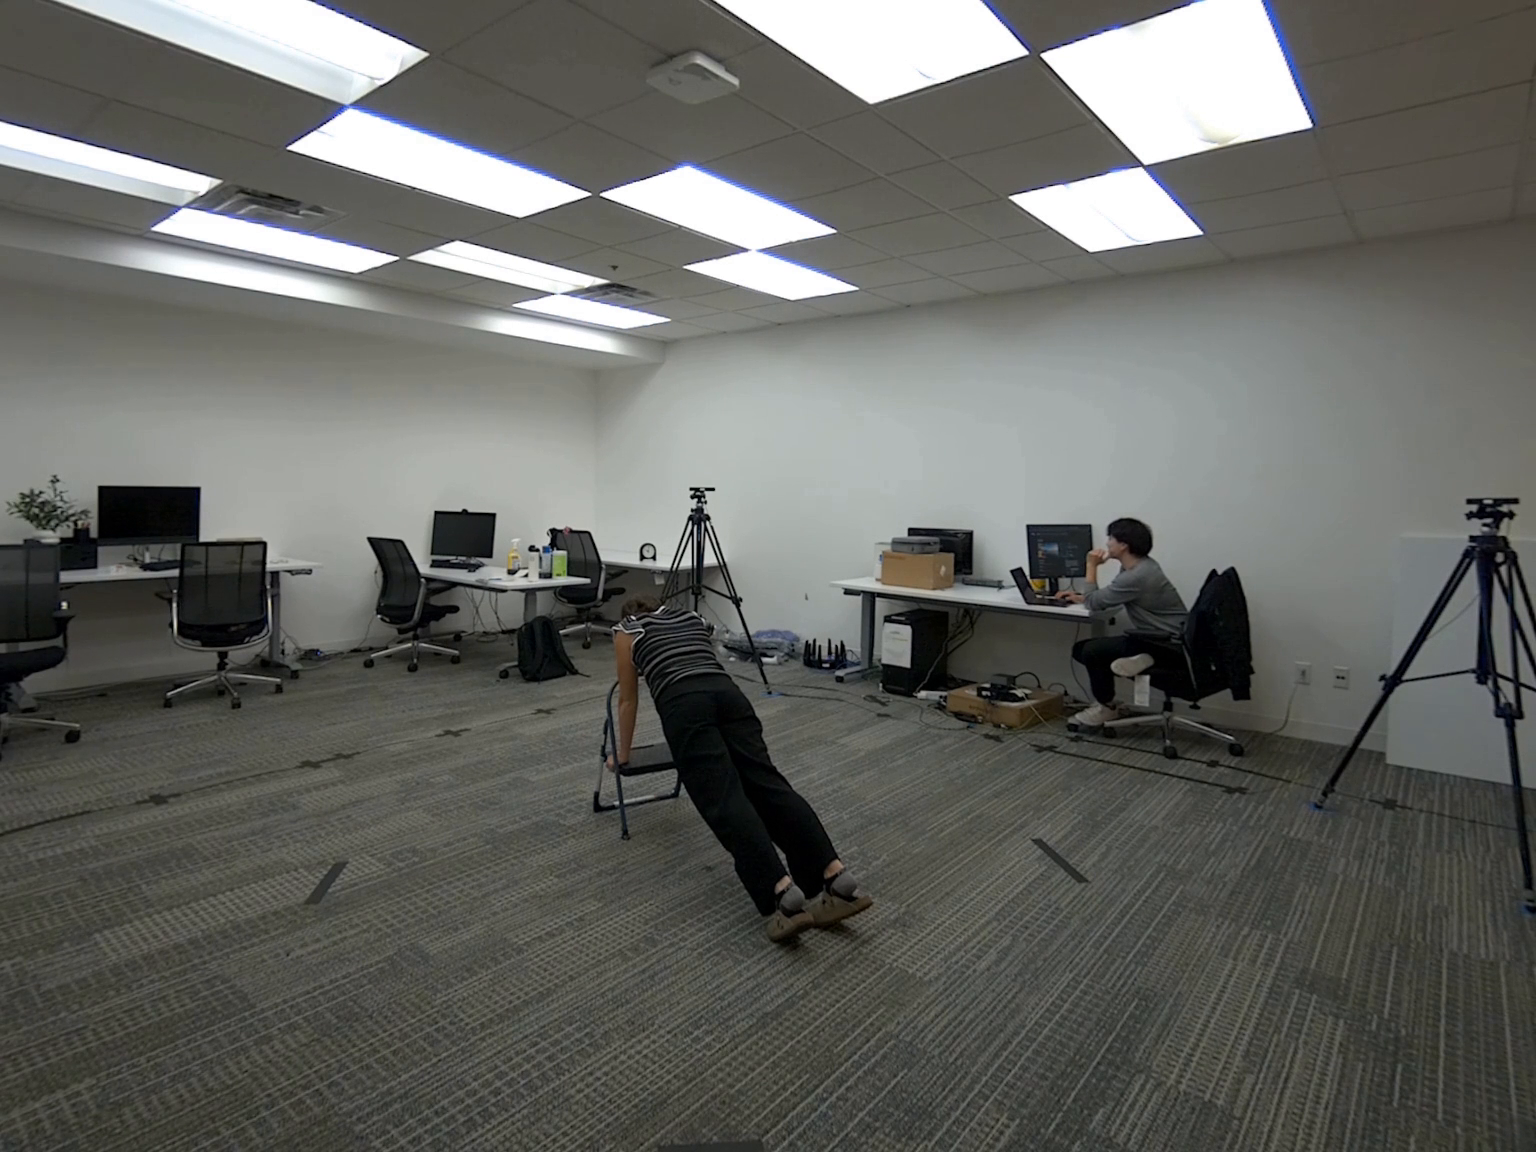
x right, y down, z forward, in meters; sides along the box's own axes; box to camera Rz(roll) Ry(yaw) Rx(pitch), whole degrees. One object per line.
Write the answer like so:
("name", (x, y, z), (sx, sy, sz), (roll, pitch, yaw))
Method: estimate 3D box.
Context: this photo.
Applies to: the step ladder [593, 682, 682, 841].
("step ladder", (-0.496, 0.714, 3.593), (0.418, 0.605, 0.360), (-1, 3, -33))
